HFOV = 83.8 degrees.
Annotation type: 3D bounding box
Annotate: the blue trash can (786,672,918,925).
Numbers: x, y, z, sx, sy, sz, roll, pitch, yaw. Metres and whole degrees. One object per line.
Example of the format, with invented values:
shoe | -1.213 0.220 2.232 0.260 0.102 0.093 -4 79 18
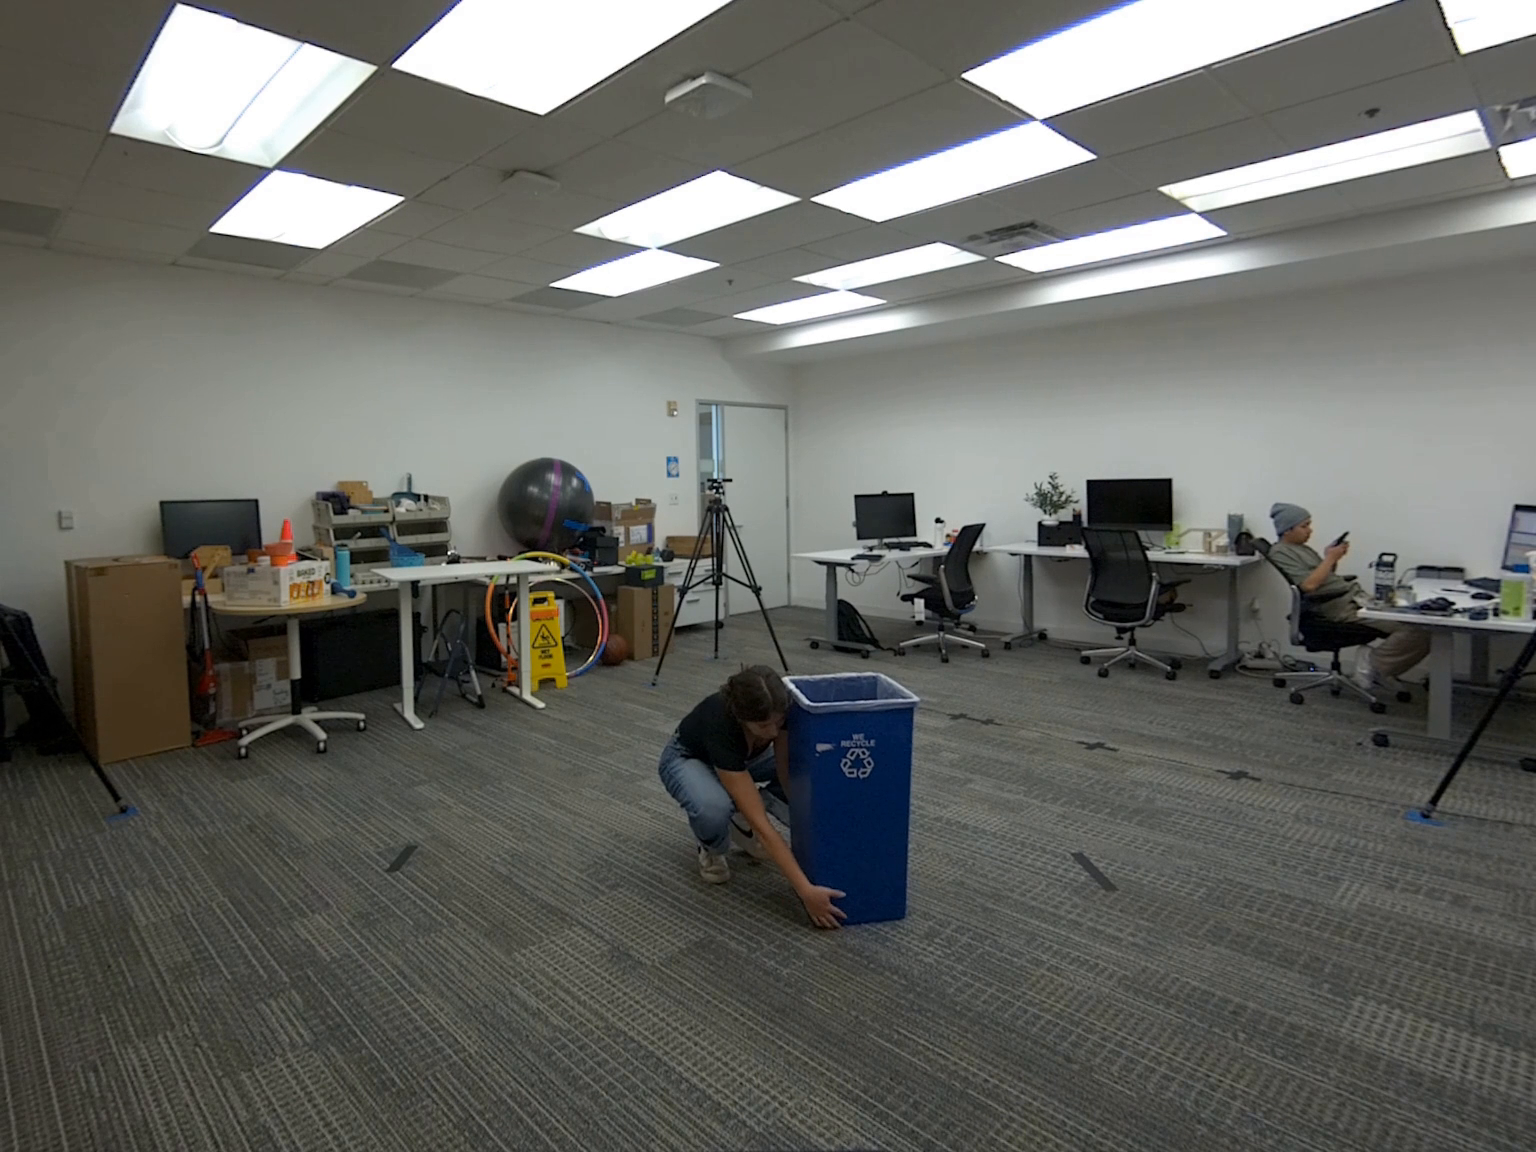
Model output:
blue trash can | 0.268 0.717 2.793 0.370 0.710 0.383 -2 5 -11
